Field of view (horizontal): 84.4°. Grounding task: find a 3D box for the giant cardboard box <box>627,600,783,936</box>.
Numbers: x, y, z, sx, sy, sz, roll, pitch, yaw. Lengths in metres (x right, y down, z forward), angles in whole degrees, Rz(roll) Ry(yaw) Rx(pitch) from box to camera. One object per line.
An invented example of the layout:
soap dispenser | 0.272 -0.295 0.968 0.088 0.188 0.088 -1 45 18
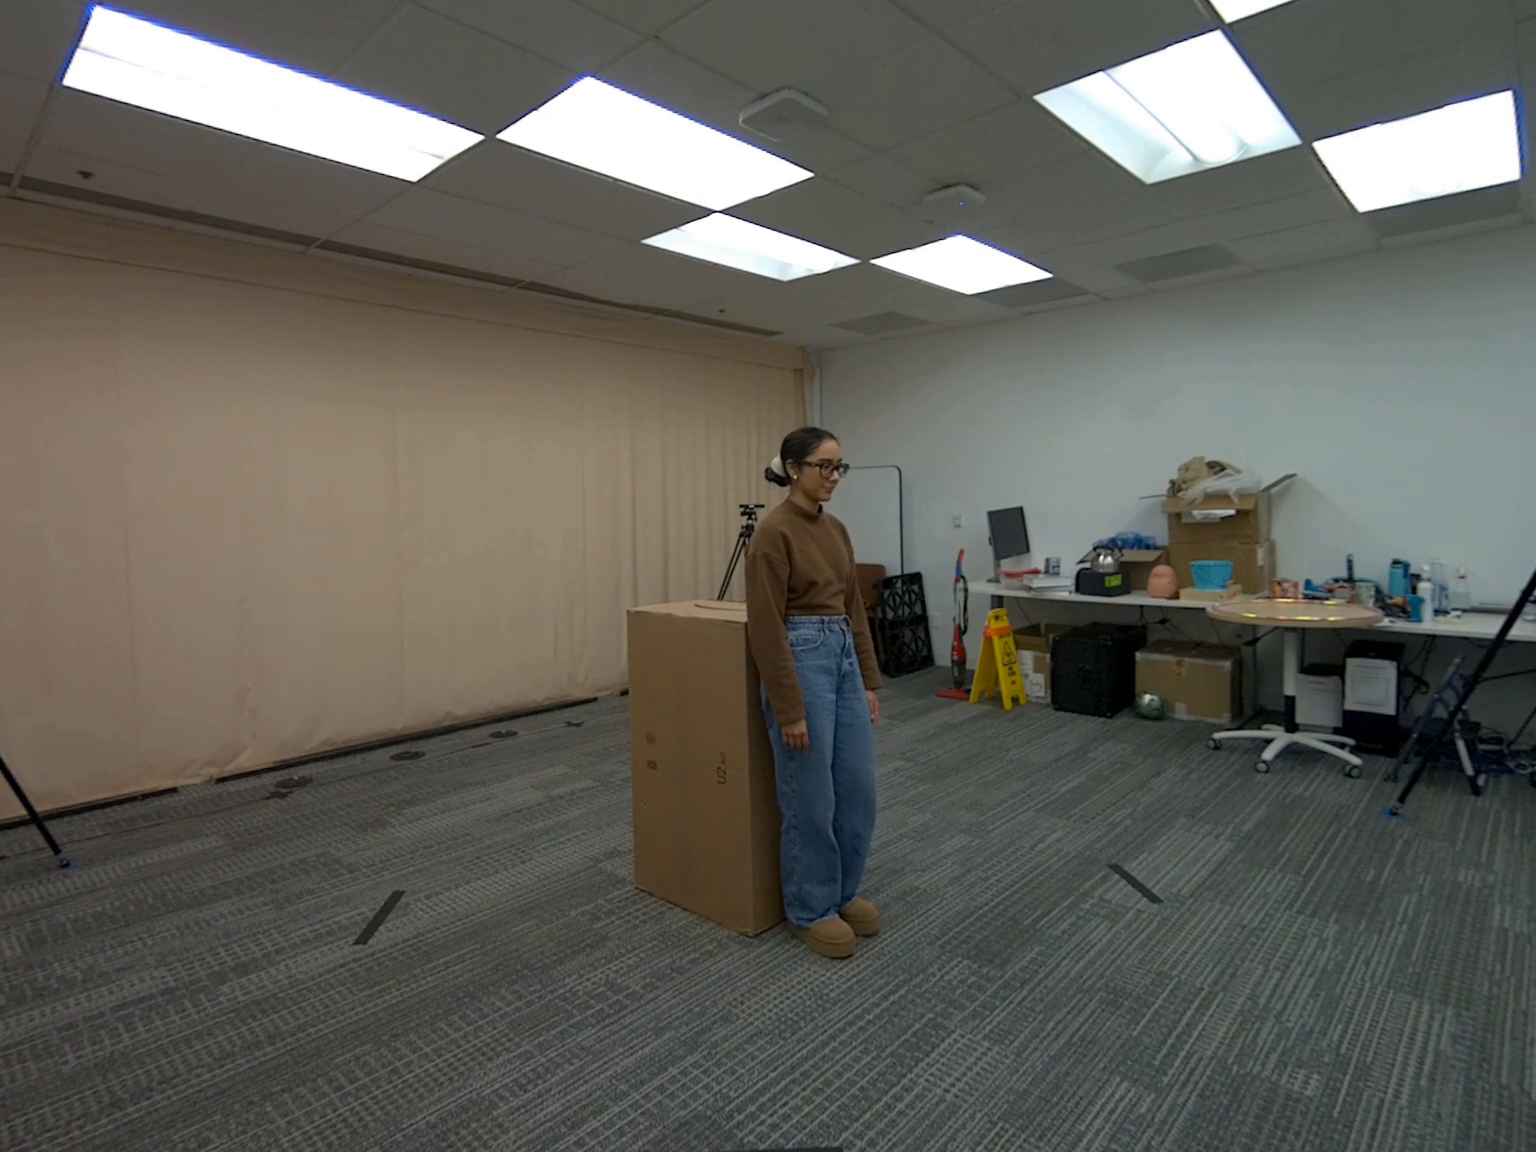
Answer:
giant cardboard box | -0.148 0.631 3.031 0.603 1.025 0.433 1 4 40
